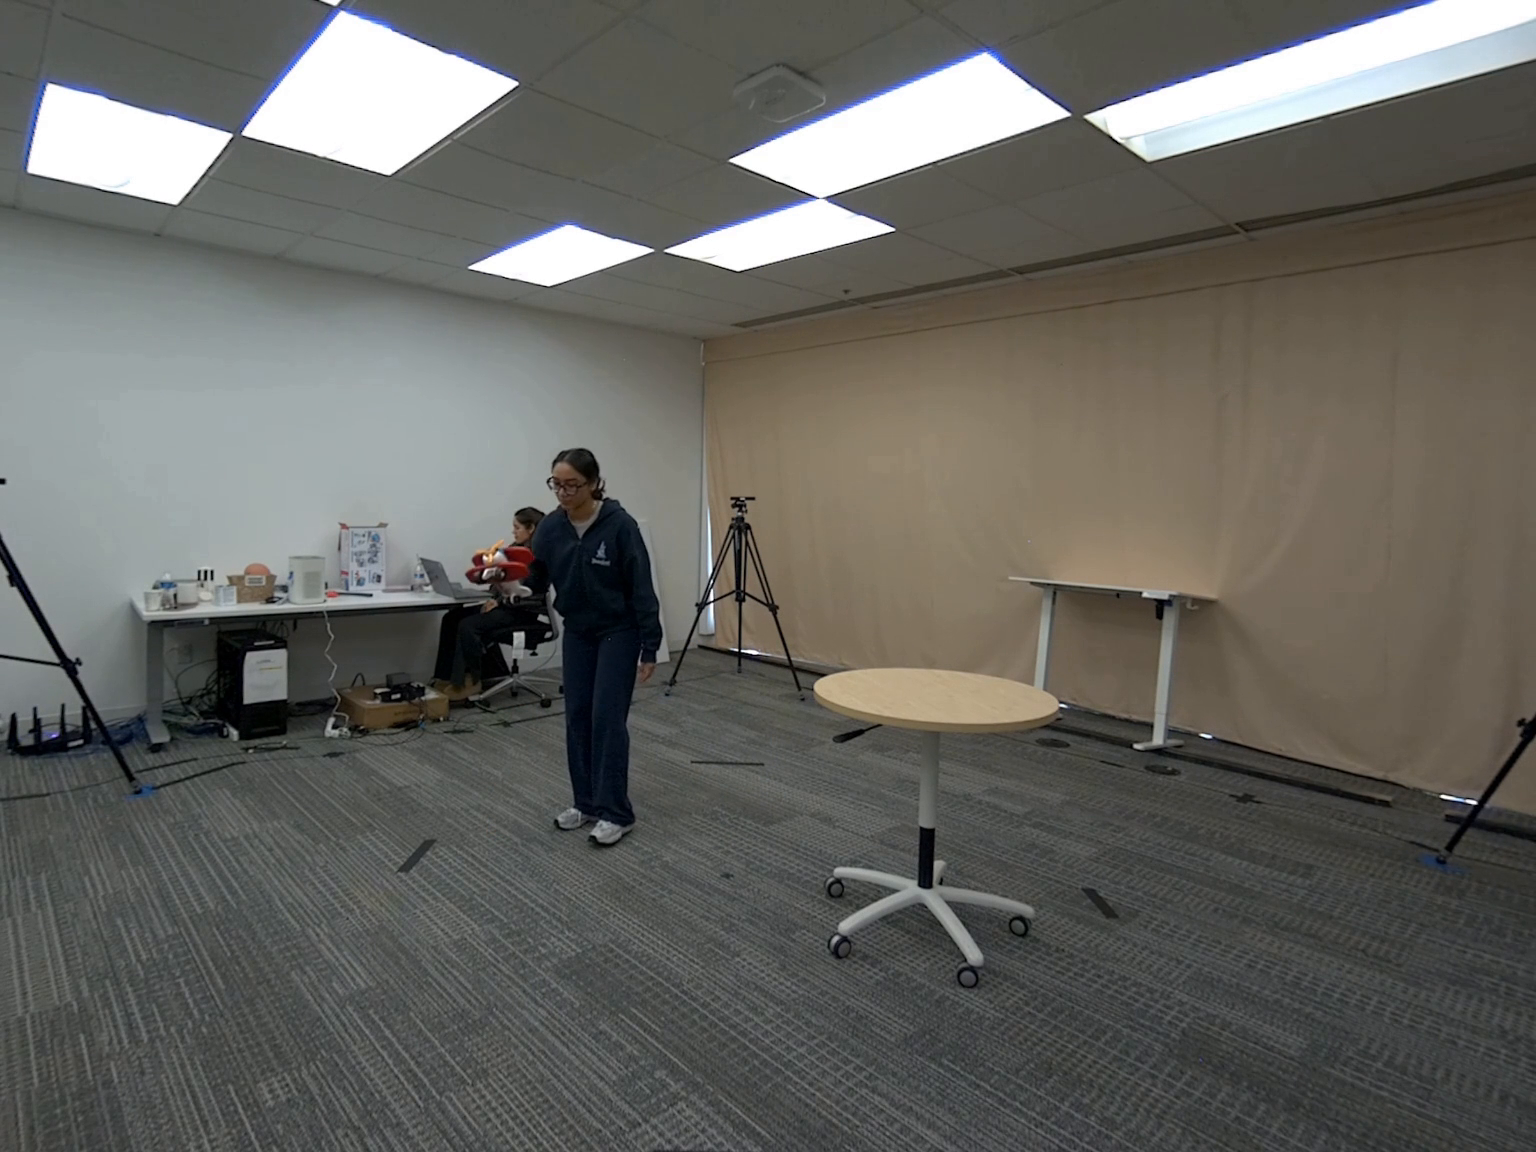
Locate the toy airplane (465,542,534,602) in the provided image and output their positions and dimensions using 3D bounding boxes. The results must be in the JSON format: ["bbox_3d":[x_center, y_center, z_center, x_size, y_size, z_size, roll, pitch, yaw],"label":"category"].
[{"bbox_3d":[-1.039,0.001,3.230,0.249,0.159,0.256,4,-31,-10],"label":"toy airplane"}]
